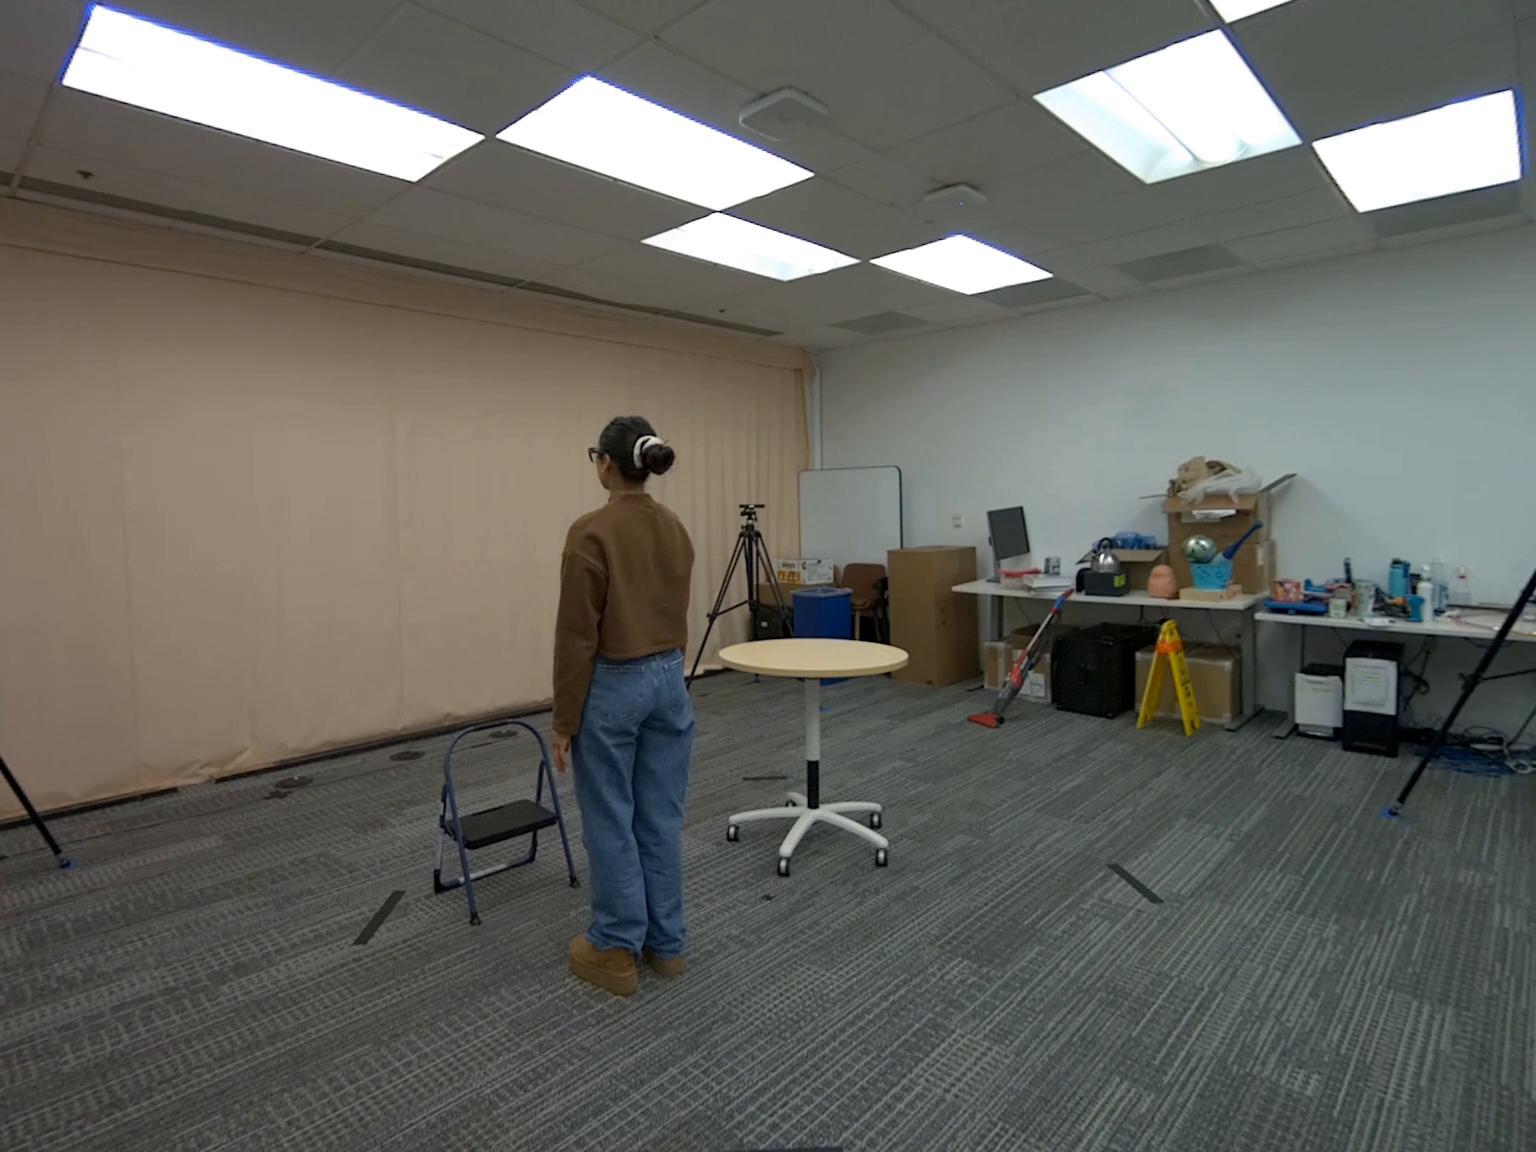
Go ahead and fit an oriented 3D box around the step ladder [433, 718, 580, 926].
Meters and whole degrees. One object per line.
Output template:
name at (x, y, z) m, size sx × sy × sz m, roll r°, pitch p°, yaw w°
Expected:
step ladder at (-0.973, 0.857, 3.087) m, size 0.417 × 0.605 × 0.361 m, roll -5°, pitch 5°, yaw -44°
